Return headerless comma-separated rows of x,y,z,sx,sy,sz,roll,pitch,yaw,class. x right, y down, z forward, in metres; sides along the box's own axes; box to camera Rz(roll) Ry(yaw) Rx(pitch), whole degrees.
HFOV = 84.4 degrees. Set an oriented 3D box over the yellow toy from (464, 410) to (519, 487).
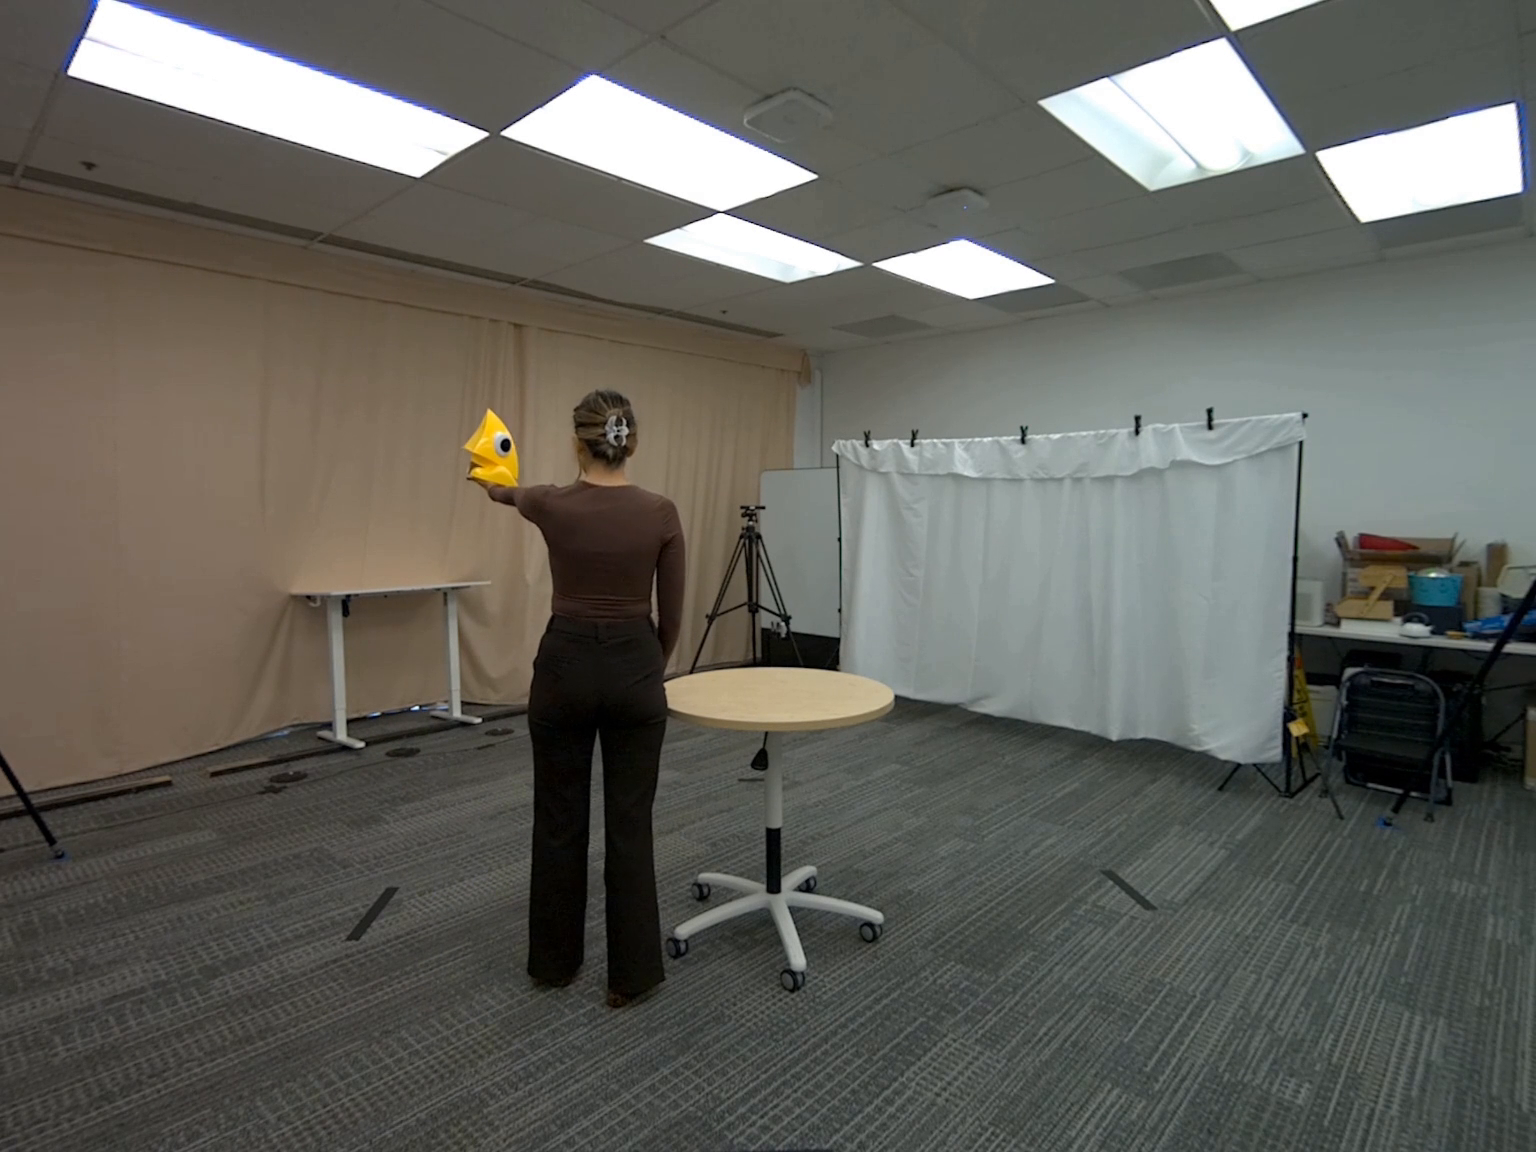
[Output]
-0.932,-0.441,2.874,0.187,0.230,0.211,14,4,-30,yellow toy
